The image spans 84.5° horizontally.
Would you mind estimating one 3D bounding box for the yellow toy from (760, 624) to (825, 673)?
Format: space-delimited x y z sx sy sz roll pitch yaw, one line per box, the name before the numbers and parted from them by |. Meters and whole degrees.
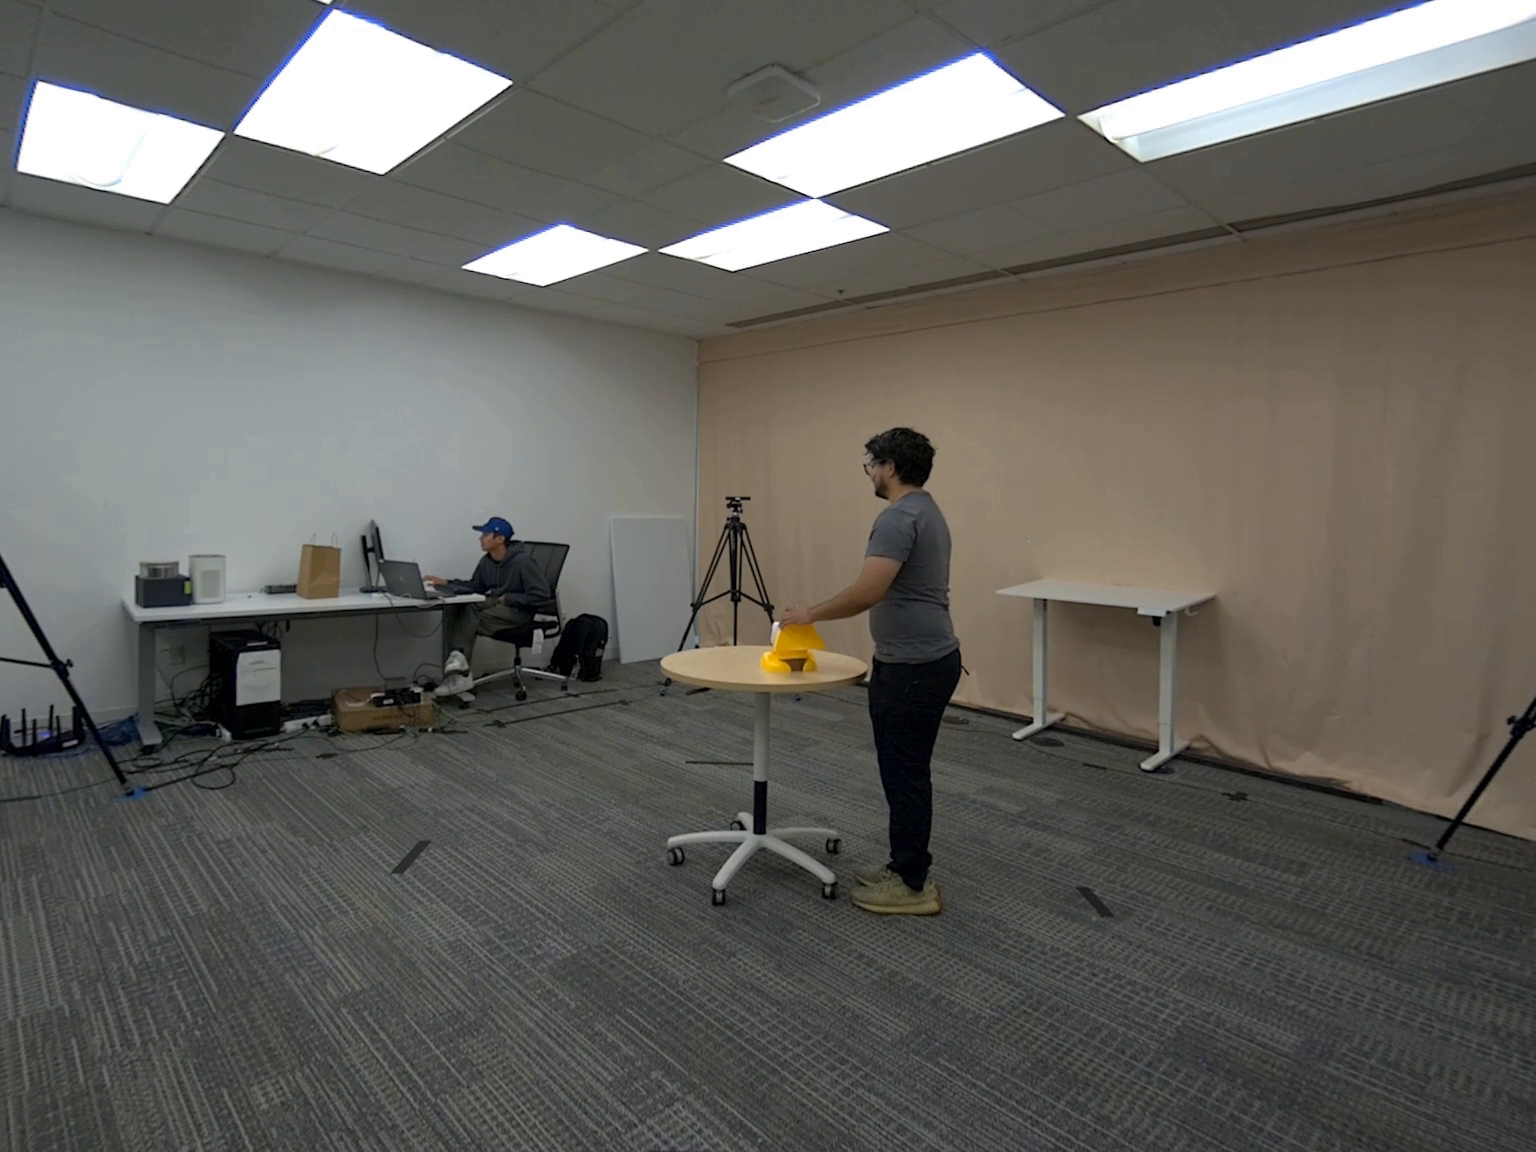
yellow toy | 0.072 0.217 3.043 0.201 0.230 0.197 -1 5 -22
